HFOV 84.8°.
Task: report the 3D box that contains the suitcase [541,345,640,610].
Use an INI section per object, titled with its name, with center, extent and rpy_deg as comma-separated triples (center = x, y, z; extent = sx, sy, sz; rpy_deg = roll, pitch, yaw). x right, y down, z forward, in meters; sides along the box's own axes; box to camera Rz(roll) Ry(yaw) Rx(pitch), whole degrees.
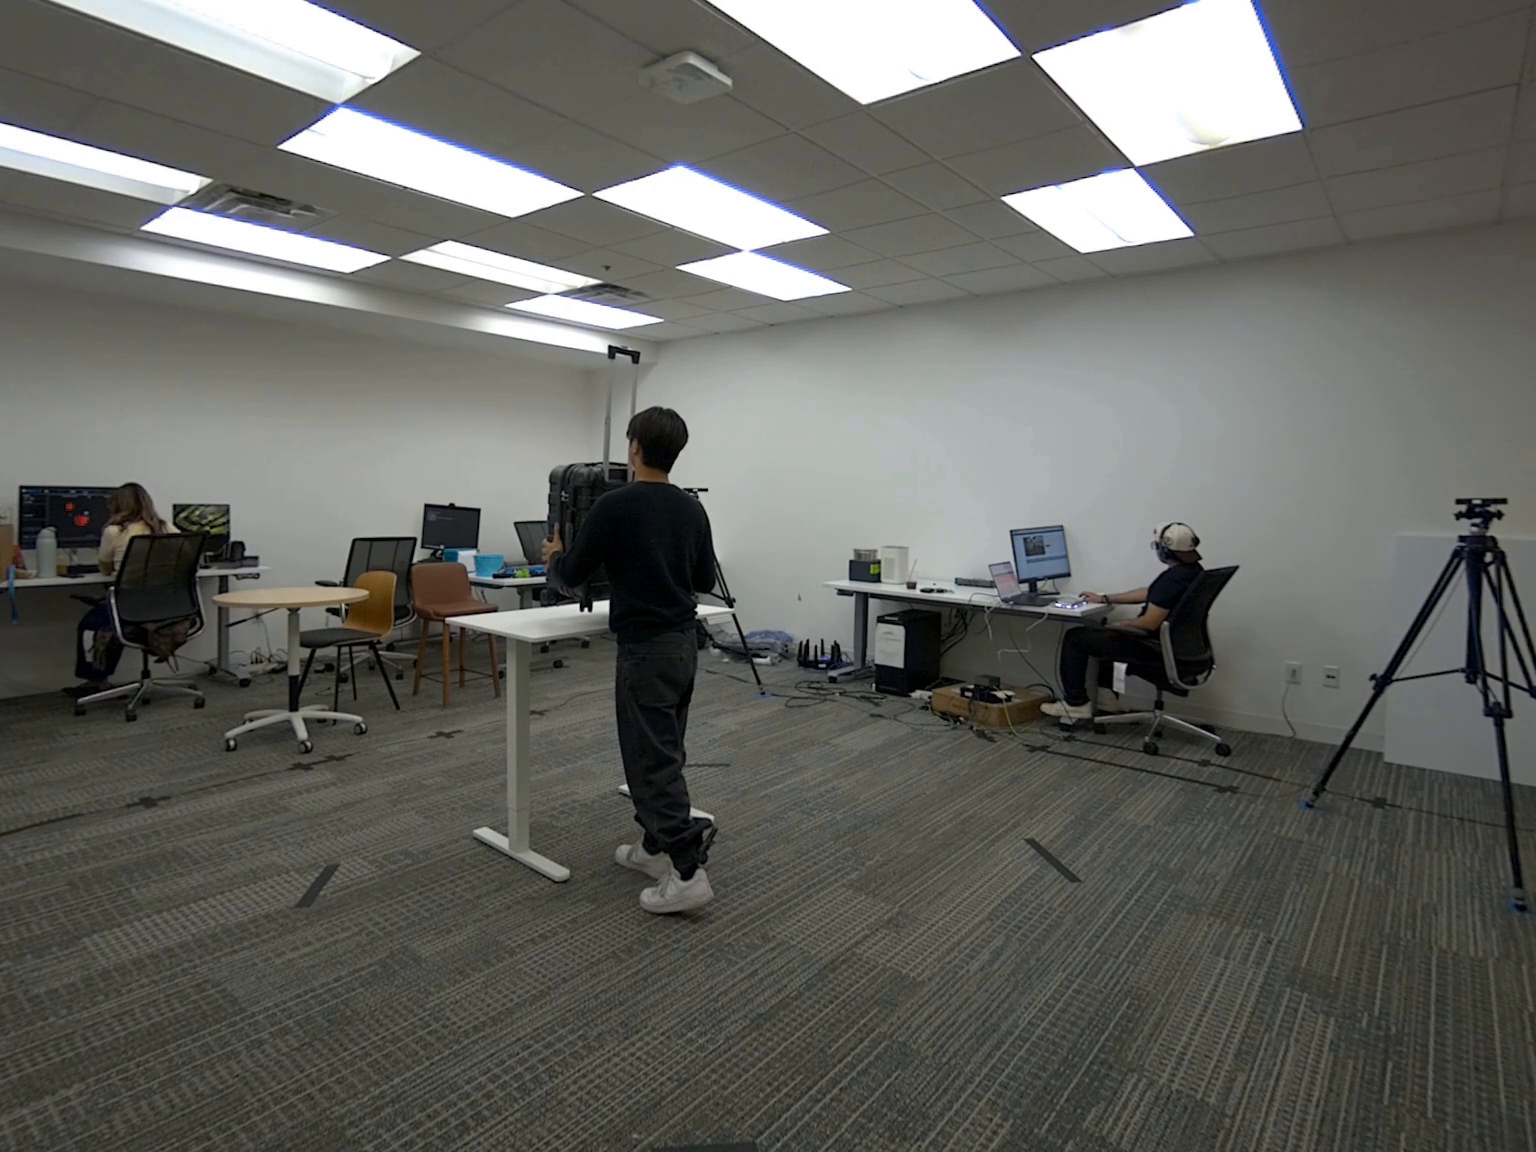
[suitcase]
center = -0.668, -0.372, 3.262
extent = 0.266, 0.974, 0.373
rpy_deg = 5, 6, 38
